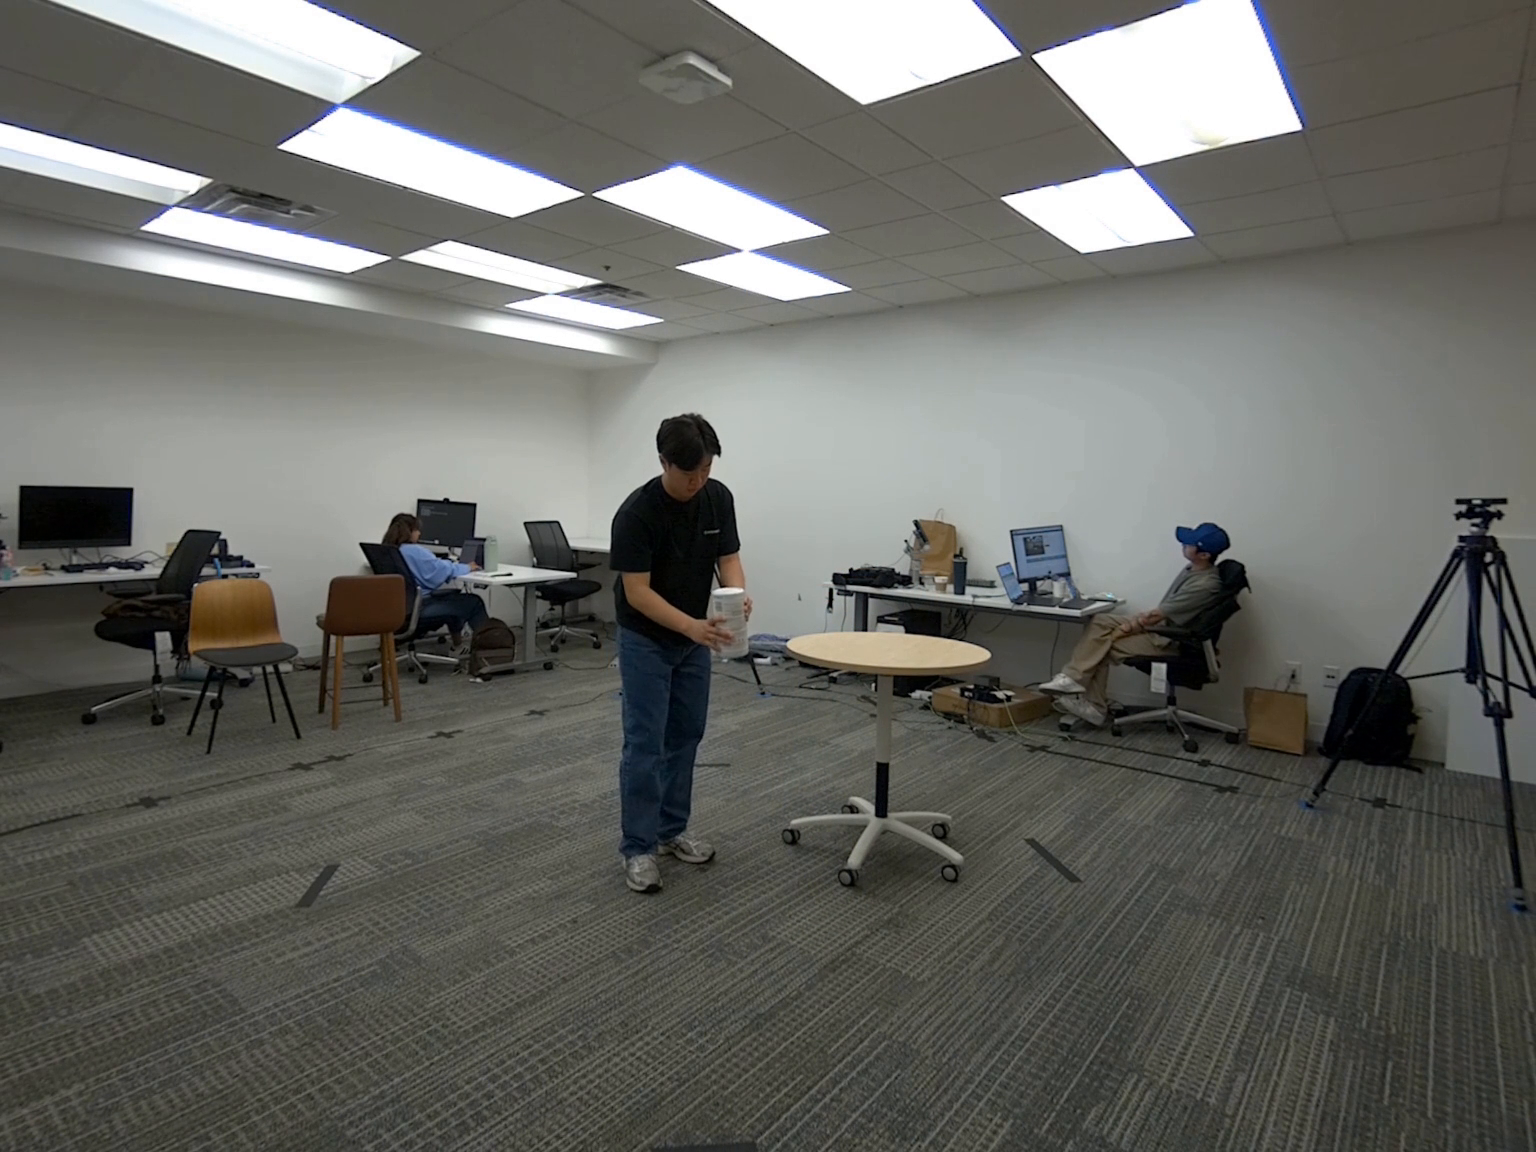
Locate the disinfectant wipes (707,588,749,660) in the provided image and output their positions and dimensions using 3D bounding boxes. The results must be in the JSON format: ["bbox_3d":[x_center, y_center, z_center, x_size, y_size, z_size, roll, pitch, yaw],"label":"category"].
[{"bbox_3d":[-0.137,0.151,2.788,0.118,0.216,0.119,-4,8,-1],"label":"disinfectant wipes"}]
